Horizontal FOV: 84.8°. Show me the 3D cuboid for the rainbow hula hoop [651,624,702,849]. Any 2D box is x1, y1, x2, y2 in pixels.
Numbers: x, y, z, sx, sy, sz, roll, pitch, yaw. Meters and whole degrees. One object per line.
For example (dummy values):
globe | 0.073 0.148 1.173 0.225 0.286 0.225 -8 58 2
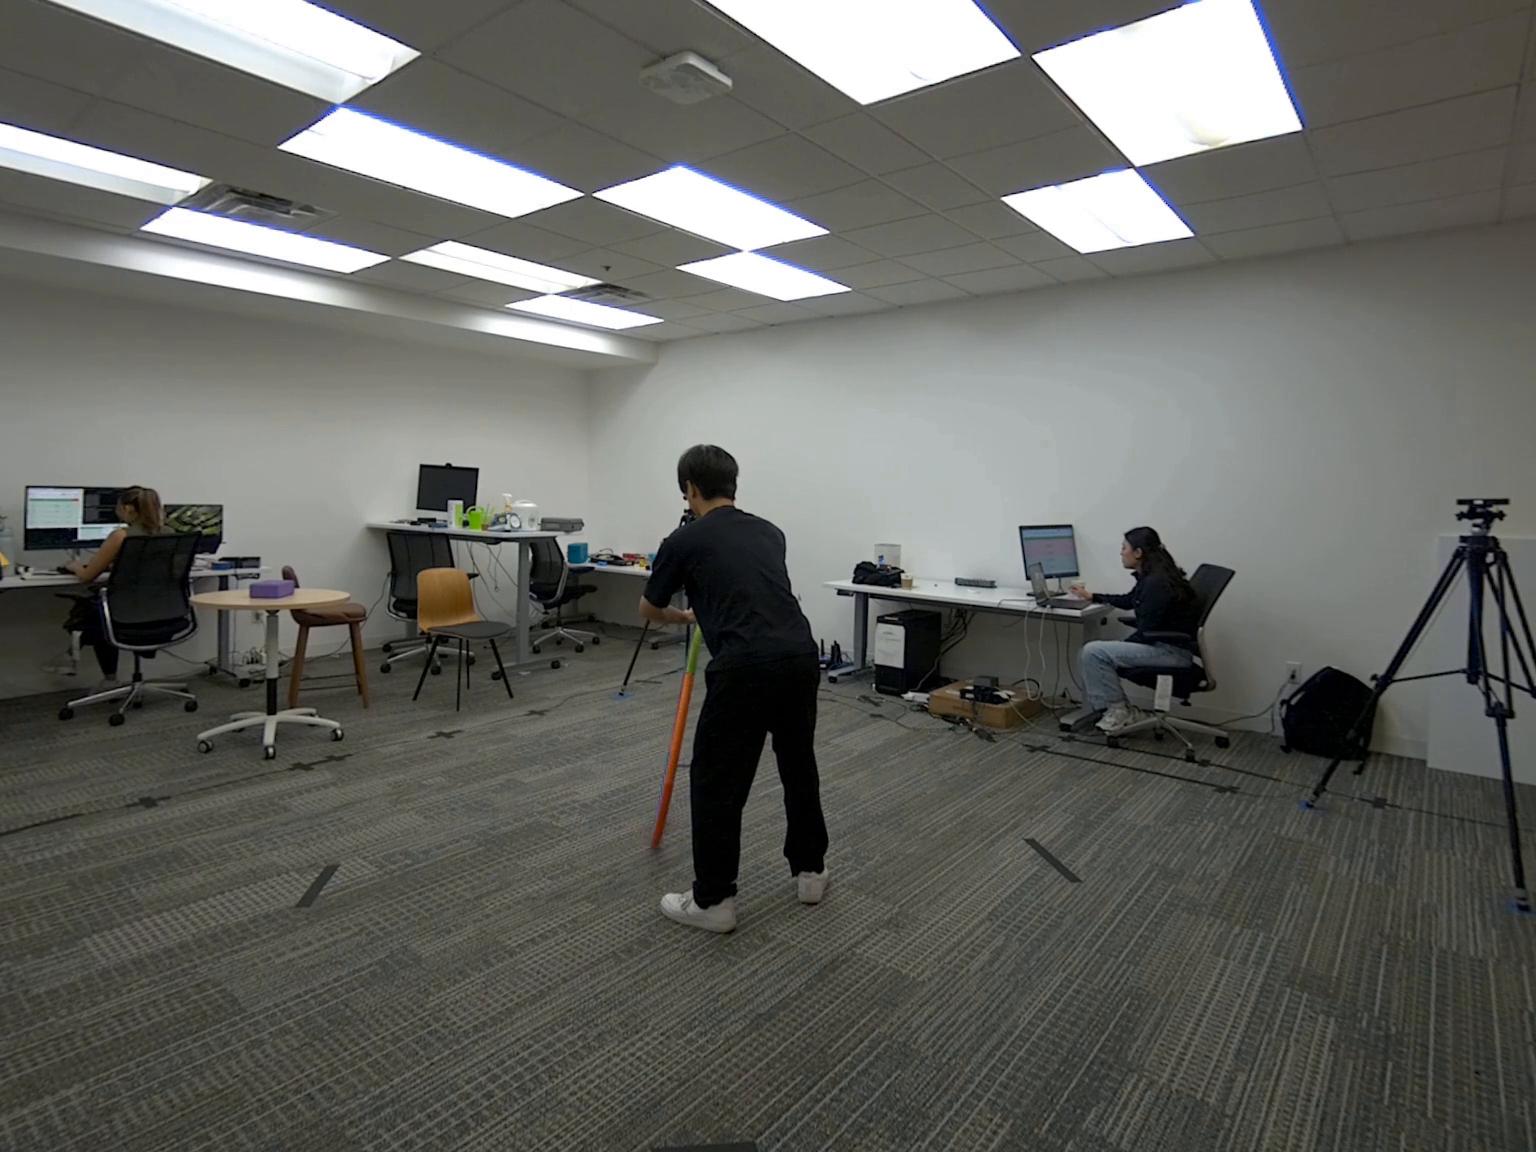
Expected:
rainbow hula hoop | -0.359 0.570 3.362 0.035 0.976 0.983 12 4 -4
